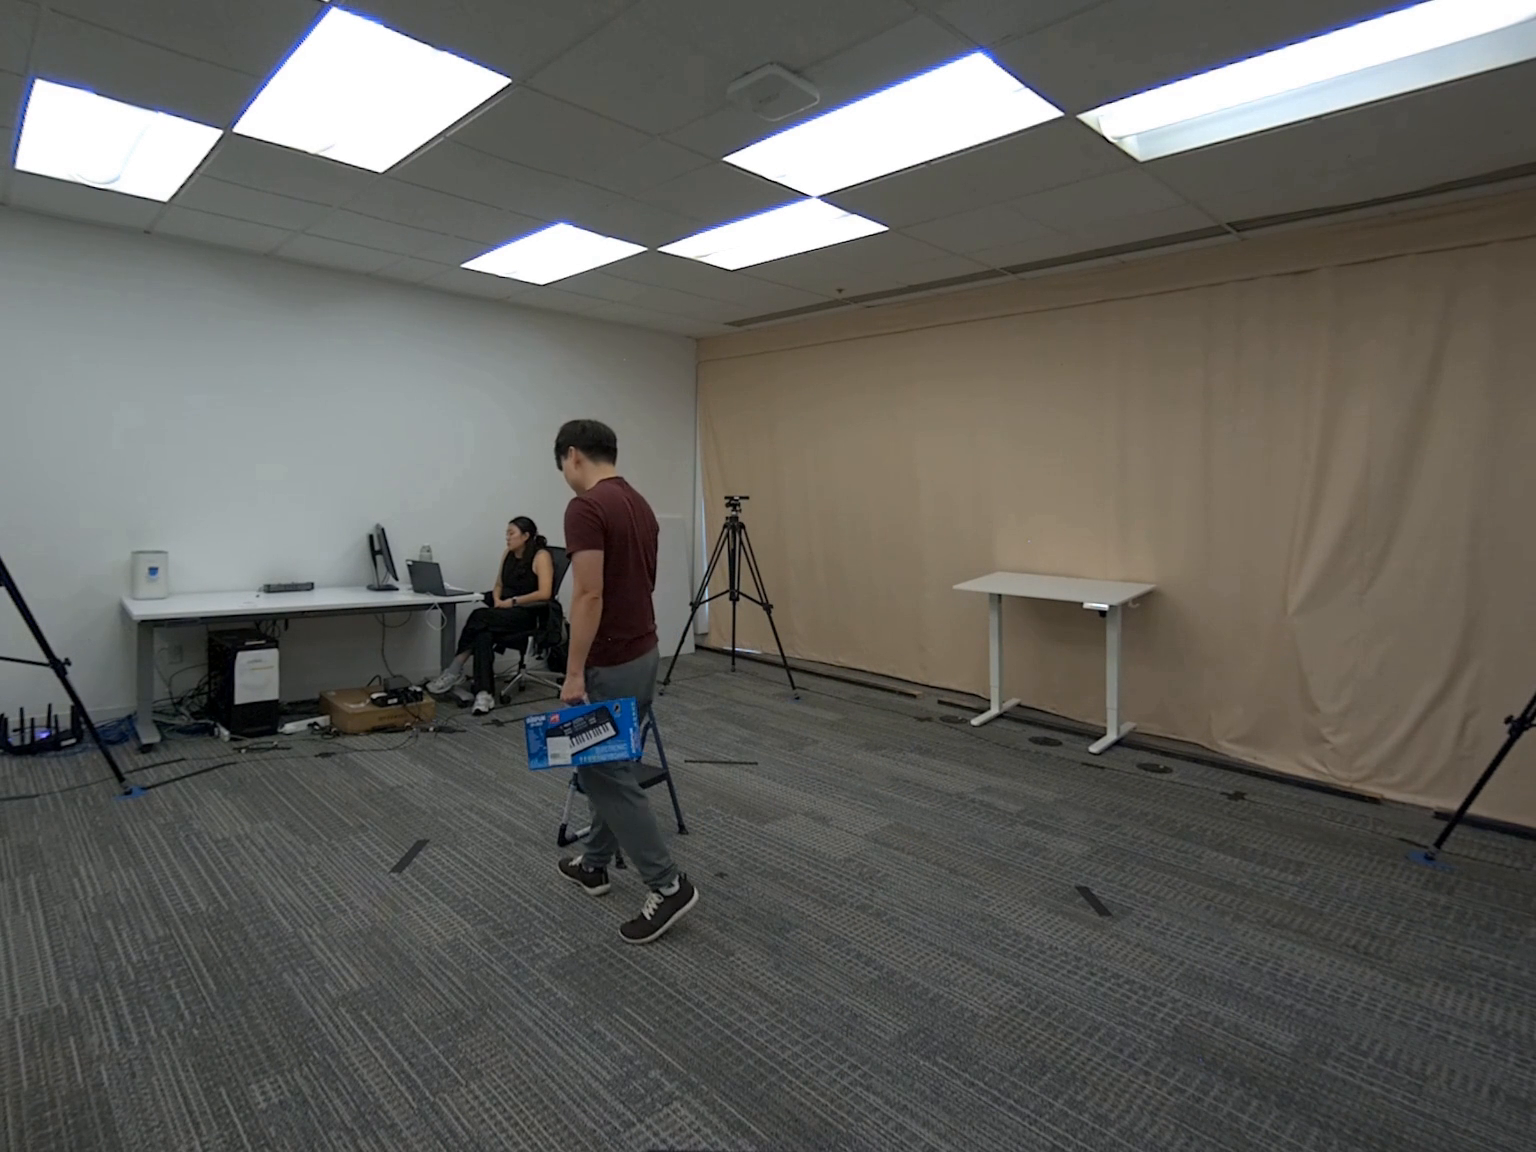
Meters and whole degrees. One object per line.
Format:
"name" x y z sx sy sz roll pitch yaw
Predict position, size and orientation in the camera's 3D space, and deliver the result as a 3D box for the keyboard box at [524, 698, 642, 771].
"keyboard box" -0.594 0.496 2.573 0.444 0.177 0.058 -14 -10 34
